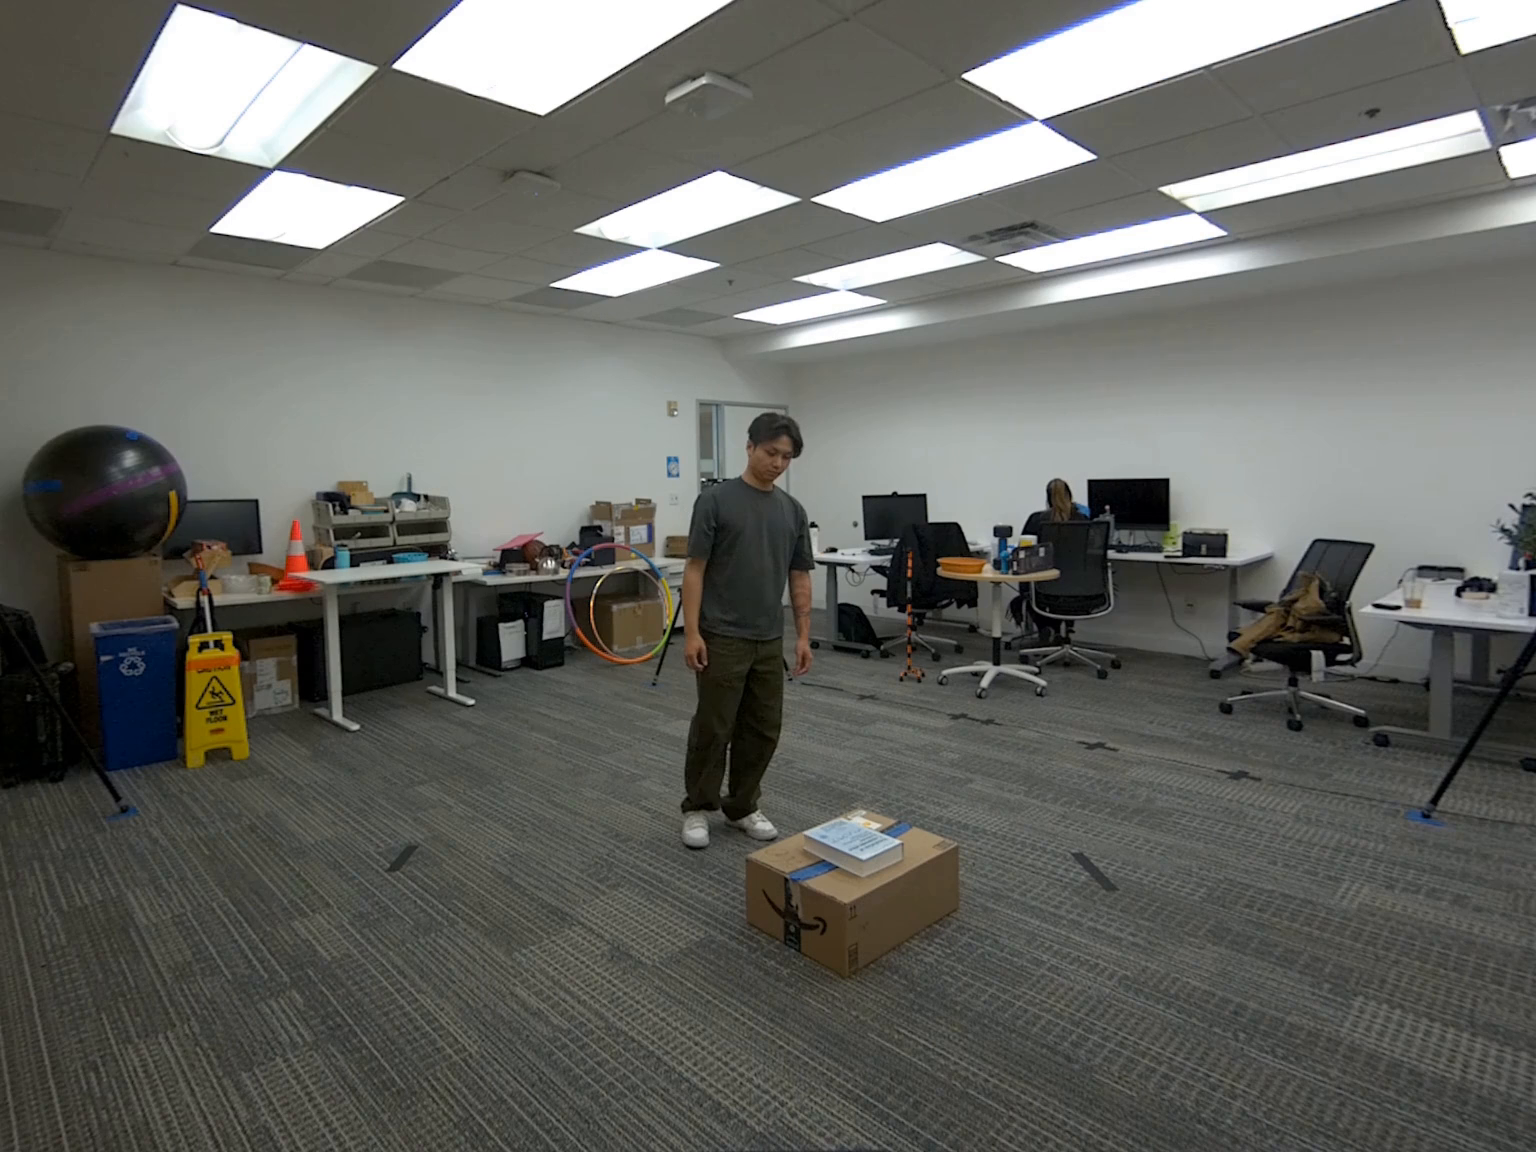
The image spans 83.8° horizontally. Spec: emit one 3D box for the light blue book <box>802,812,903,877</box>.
[{"bbox_3d":[0.274,0.848,2.692,0.186,0.059,0.269,-8,8,-39],"label":"light blue book"}]
